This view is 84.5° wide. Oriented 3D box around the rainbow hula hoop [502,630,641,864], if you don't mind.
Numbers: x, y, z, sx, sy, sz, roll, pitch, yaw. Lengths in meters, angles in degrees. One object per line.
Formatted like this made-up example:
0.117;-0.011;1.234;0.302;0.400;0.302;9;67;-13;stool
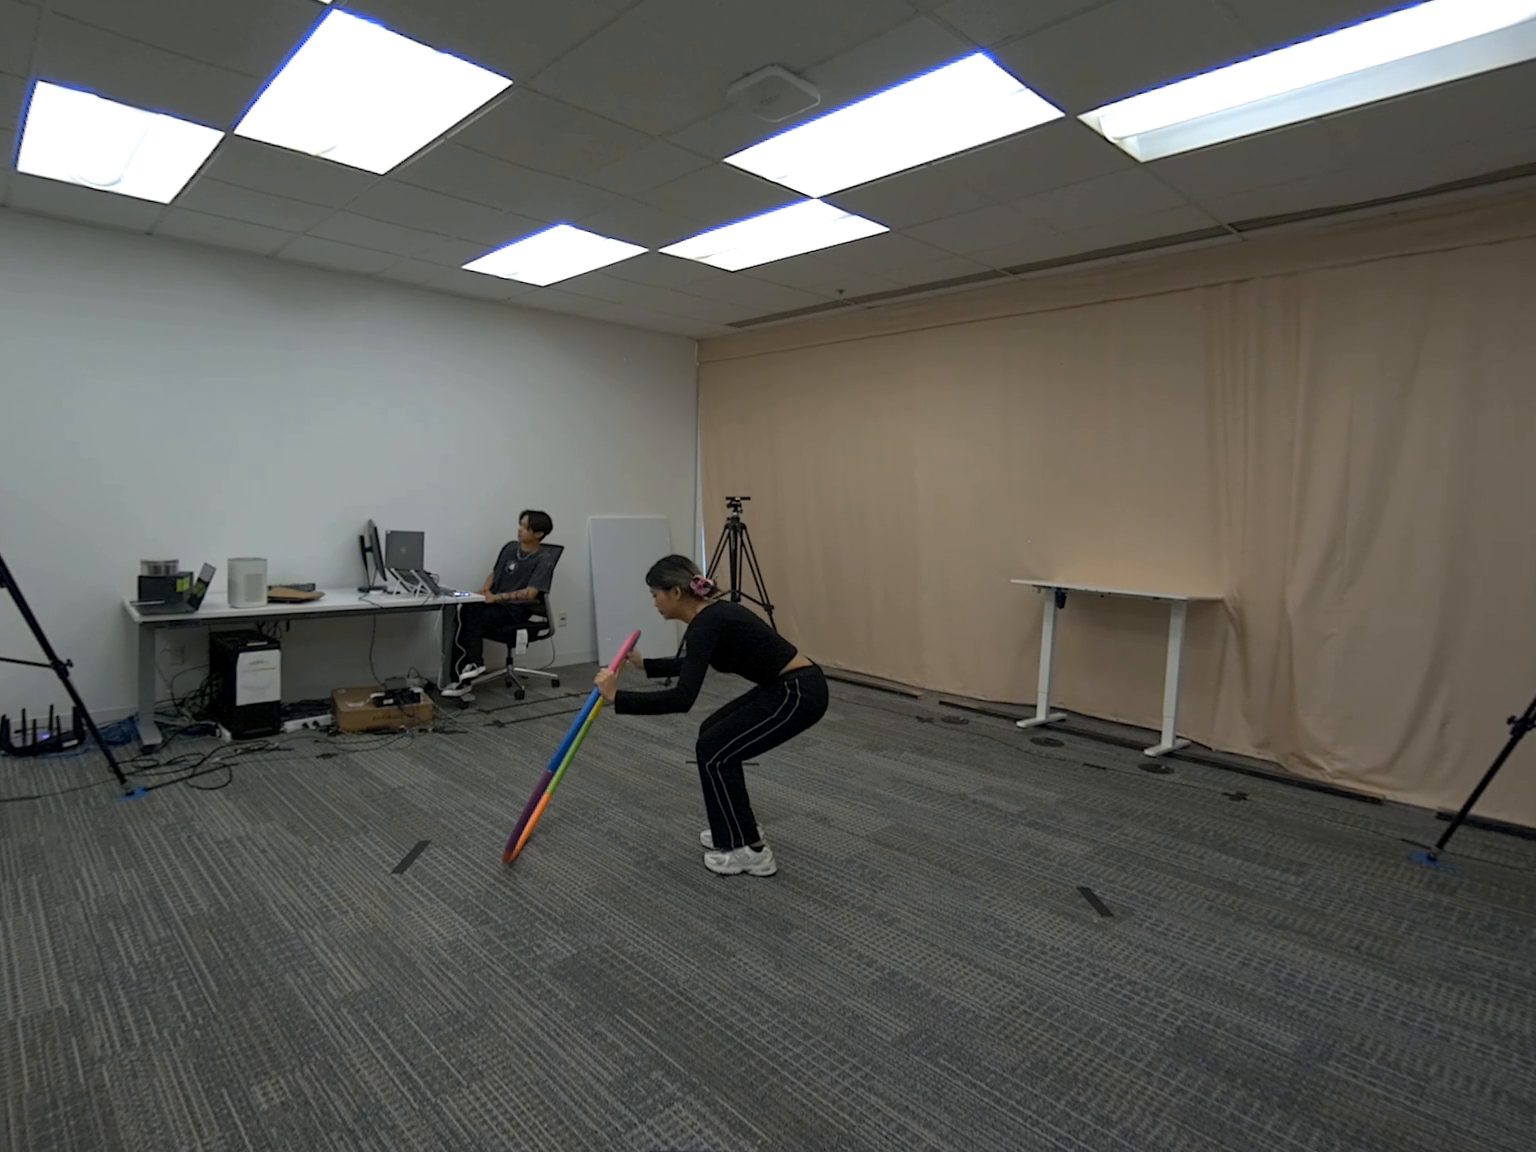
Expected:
-0.744;0.636;3.250;0.035;0.977;0.981;29;4;-4;rainbow hula hoop
